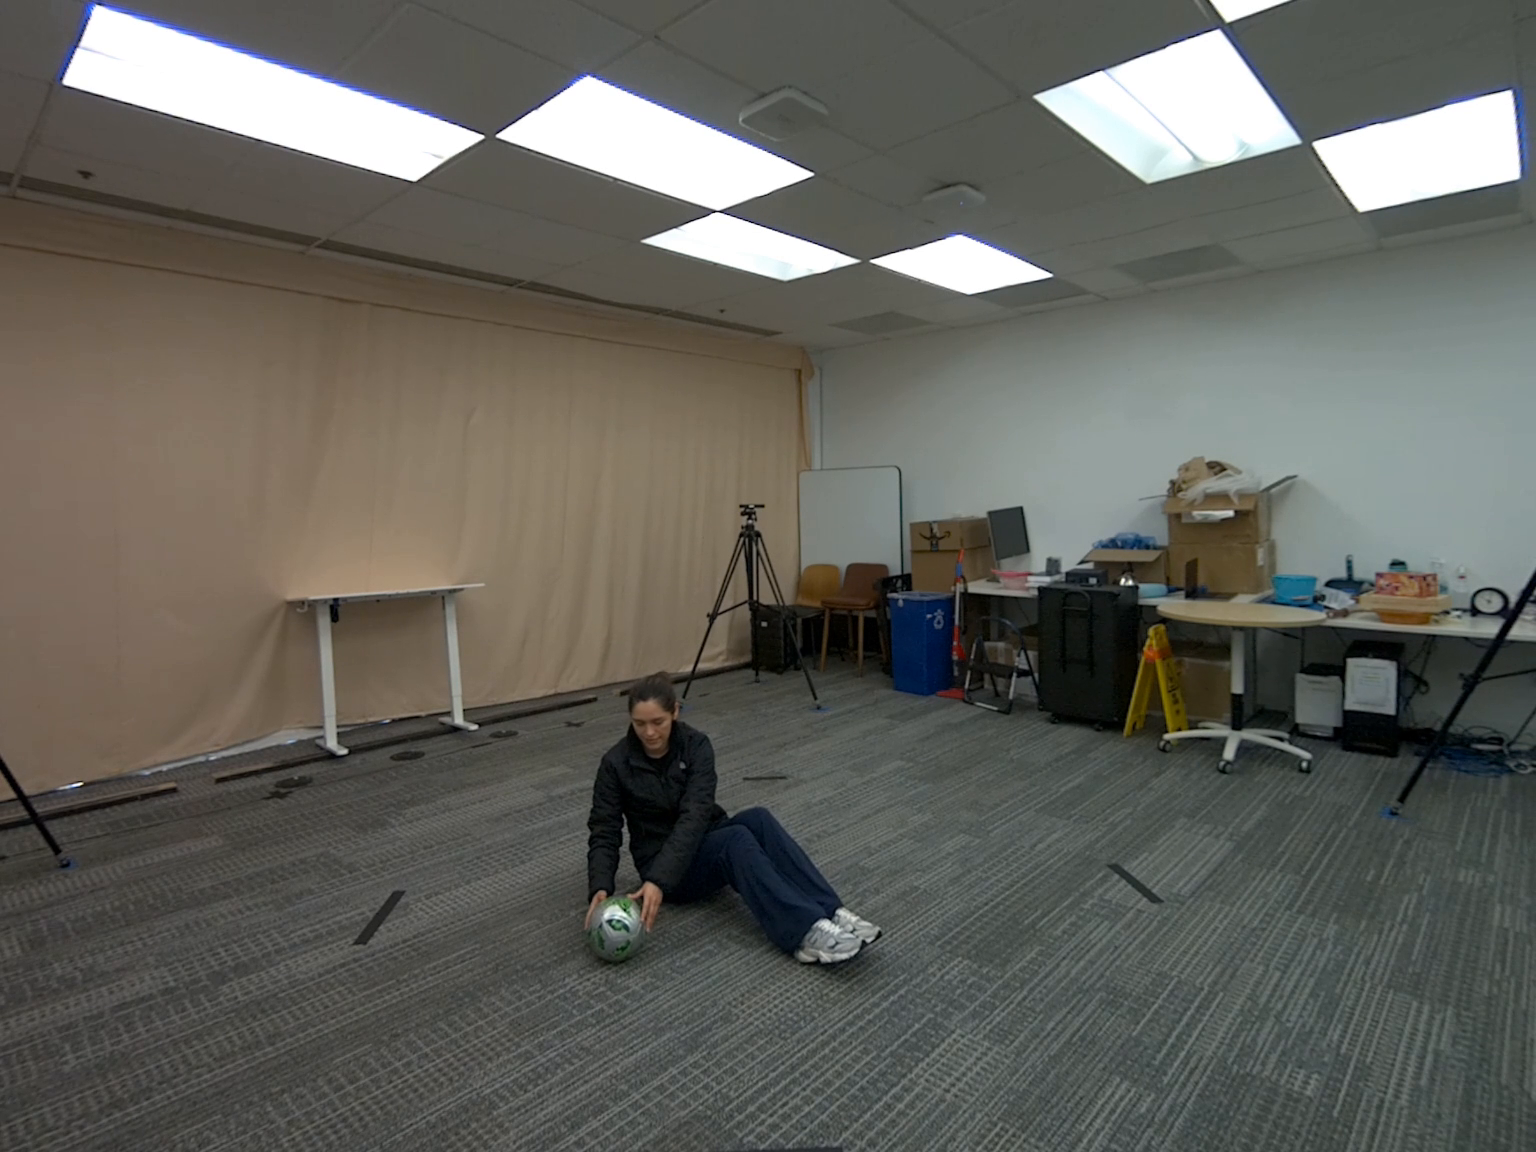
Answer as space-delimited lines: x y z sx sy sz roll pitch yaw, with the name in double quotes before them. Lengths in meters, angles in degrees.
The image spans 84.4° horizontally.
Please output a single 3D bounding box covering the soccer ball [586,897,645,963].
"soccer ball" -0.466 1.084 2.612 0.187 0.187 0.188 2 5 -2
